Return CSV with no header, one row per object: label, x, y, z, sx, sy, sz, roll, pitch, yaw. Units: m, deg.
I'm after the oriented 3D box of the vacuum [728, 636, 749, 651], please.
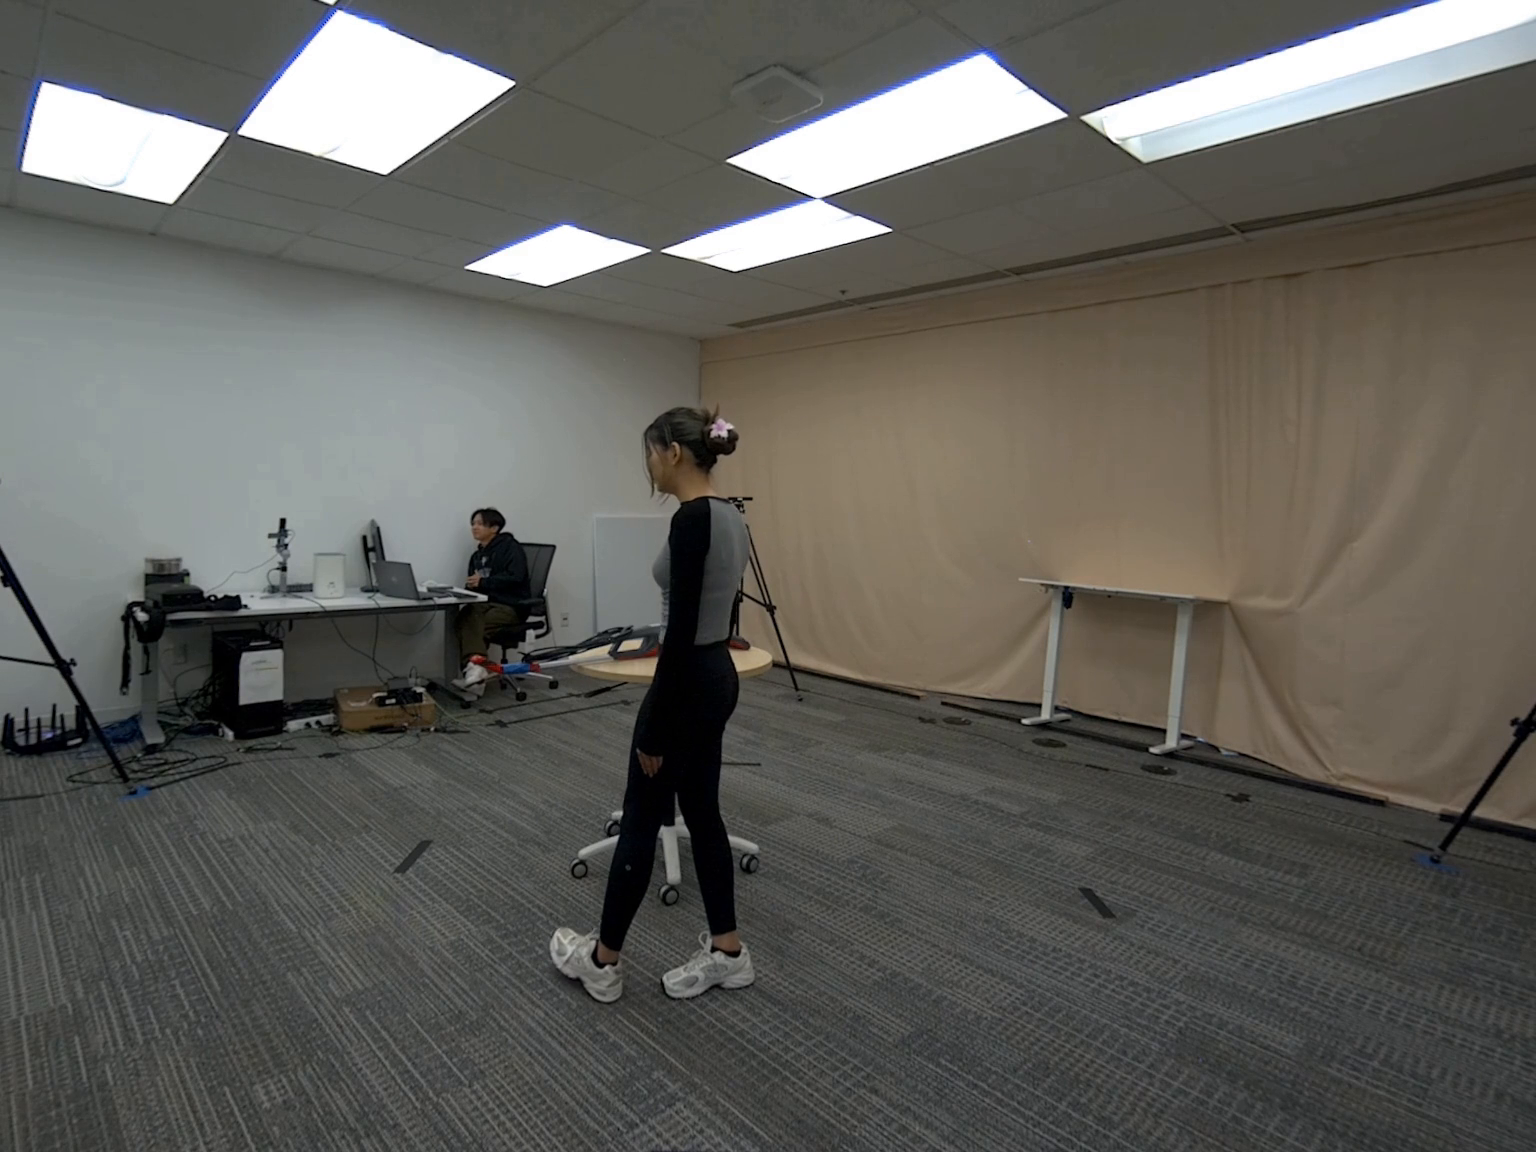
vacuum,-0.576,0.258,3.062,1.025,0.144,0.259,-3,5,-42
